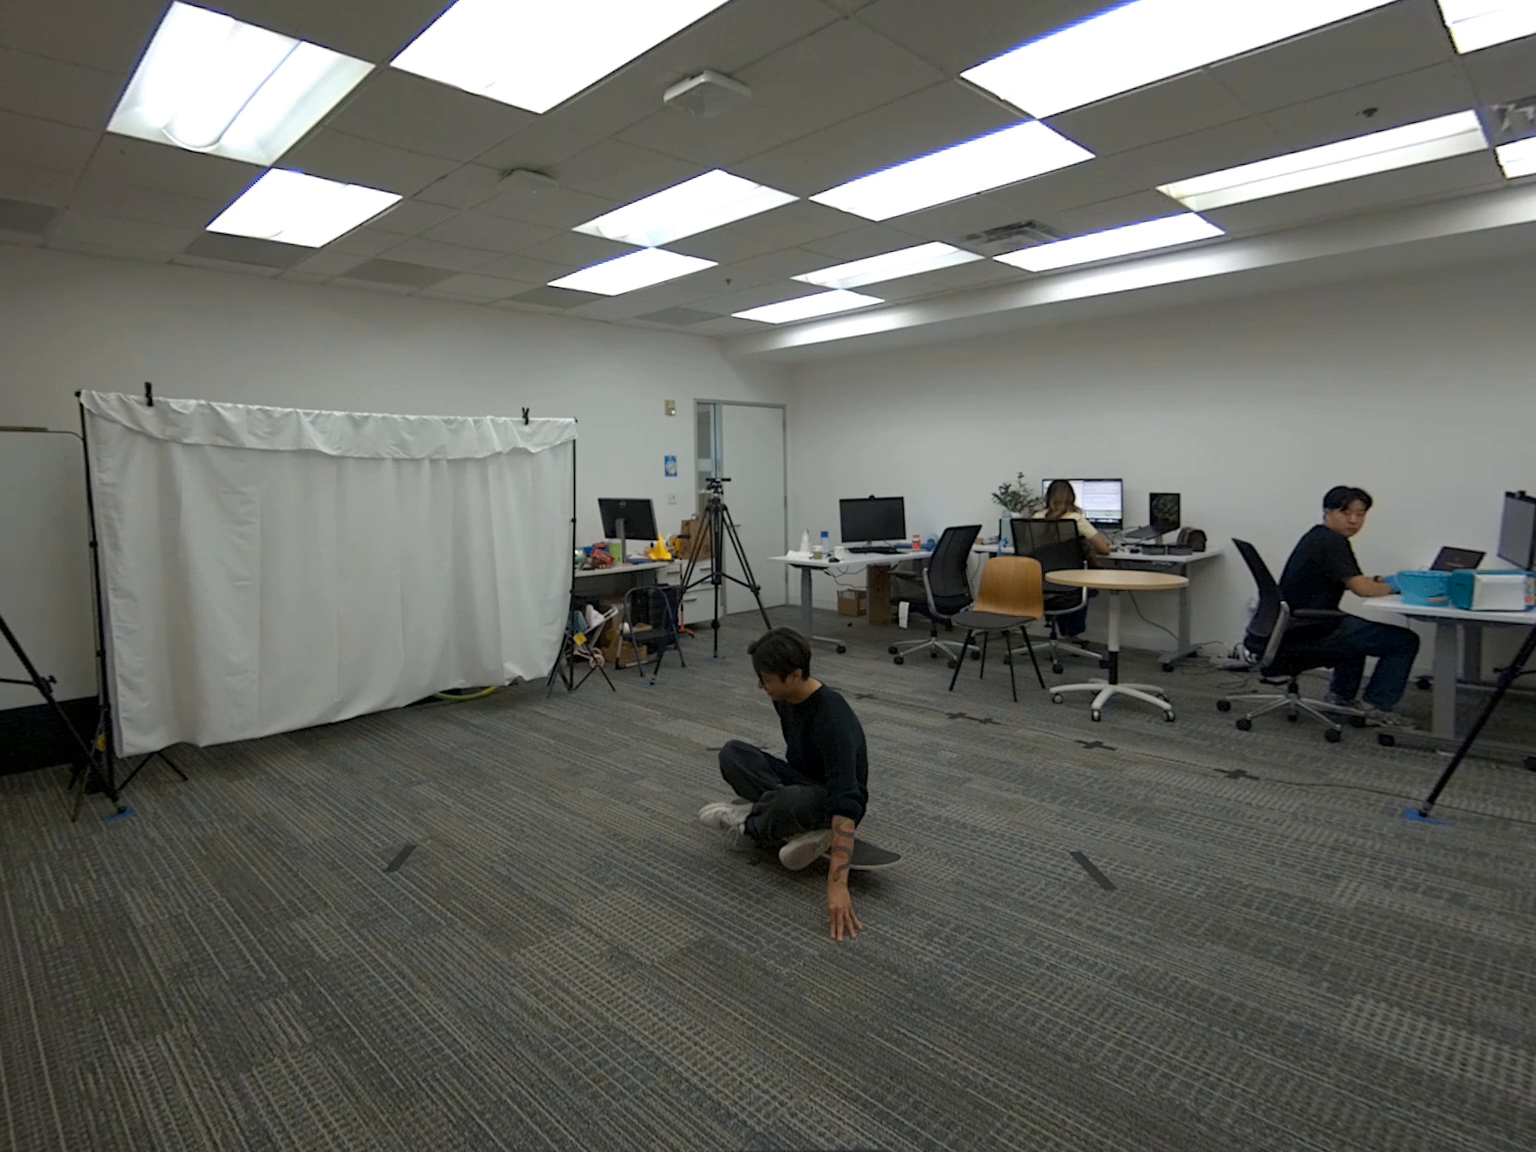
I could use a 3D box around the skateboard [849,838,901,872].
[{"bbox_3d":[0.172,1.000,3.129,0.188,0.110,0.809,-4,6,-44],"label":"skateboard"}]
